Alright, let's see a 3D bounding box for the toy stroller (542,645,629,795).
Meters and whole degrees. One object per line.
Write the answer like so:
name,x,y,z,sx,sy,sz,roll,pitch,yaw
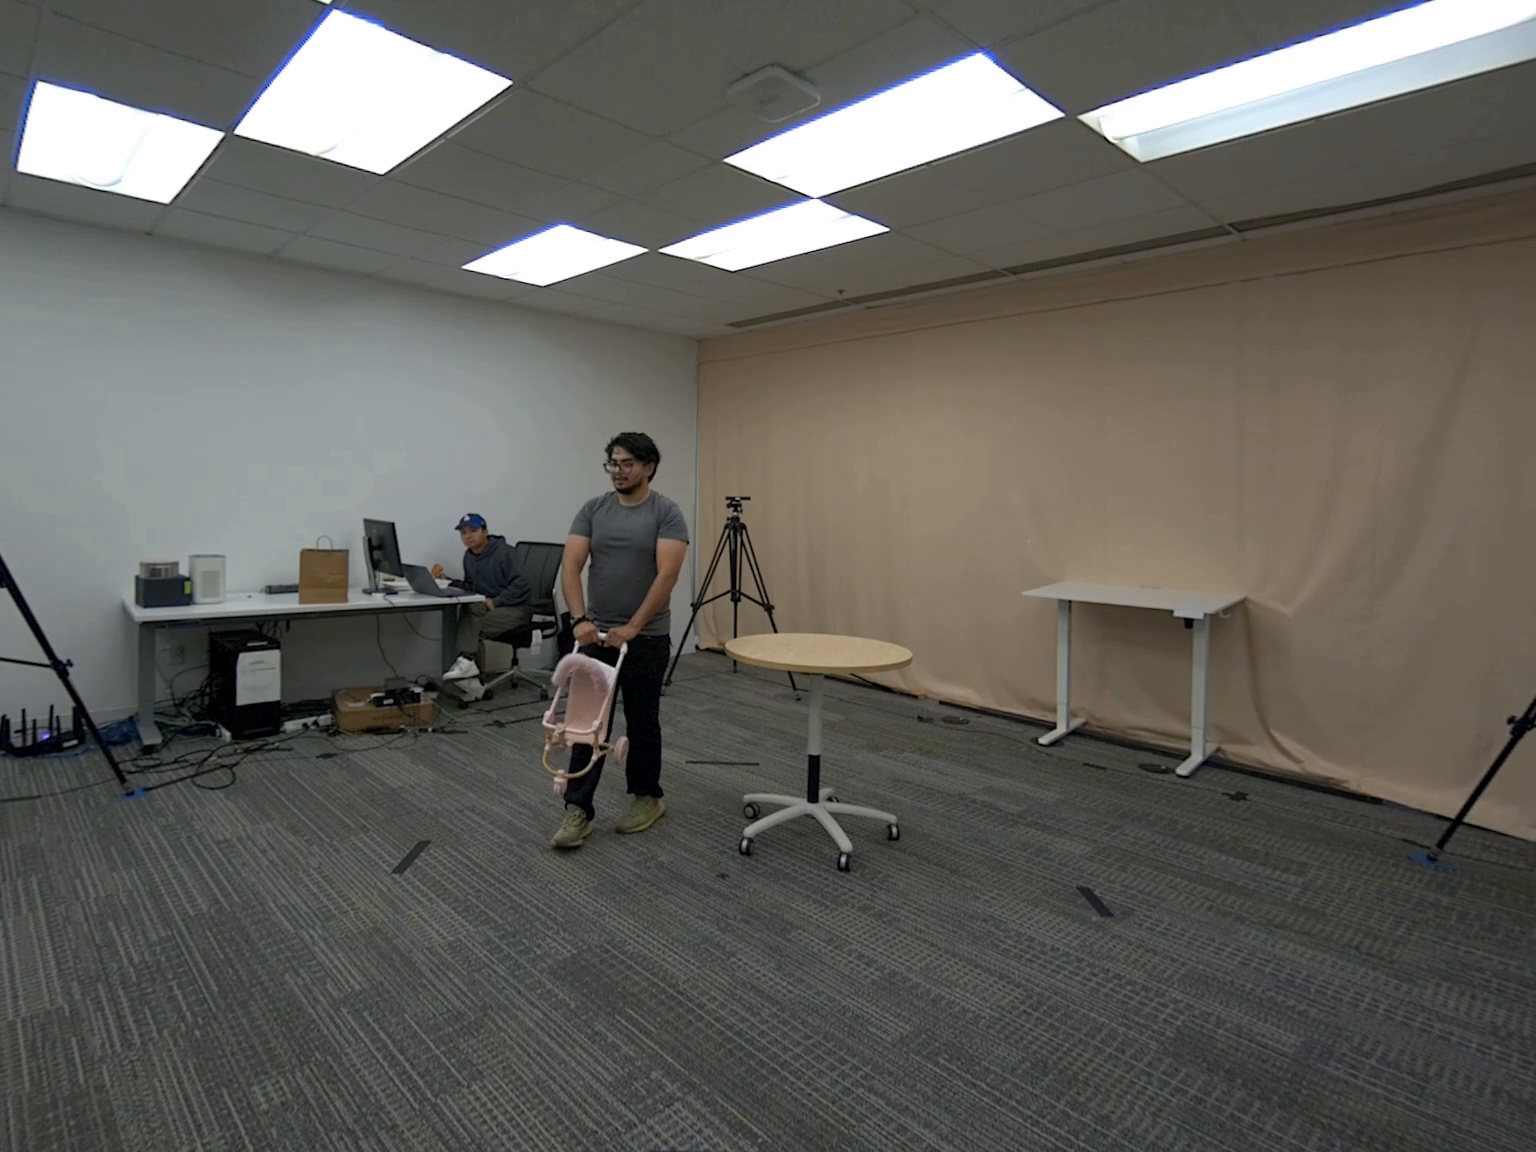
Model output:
toy stroller,-0.705,0.514,3.082,0.286,0.532,0.338,10,9,17
